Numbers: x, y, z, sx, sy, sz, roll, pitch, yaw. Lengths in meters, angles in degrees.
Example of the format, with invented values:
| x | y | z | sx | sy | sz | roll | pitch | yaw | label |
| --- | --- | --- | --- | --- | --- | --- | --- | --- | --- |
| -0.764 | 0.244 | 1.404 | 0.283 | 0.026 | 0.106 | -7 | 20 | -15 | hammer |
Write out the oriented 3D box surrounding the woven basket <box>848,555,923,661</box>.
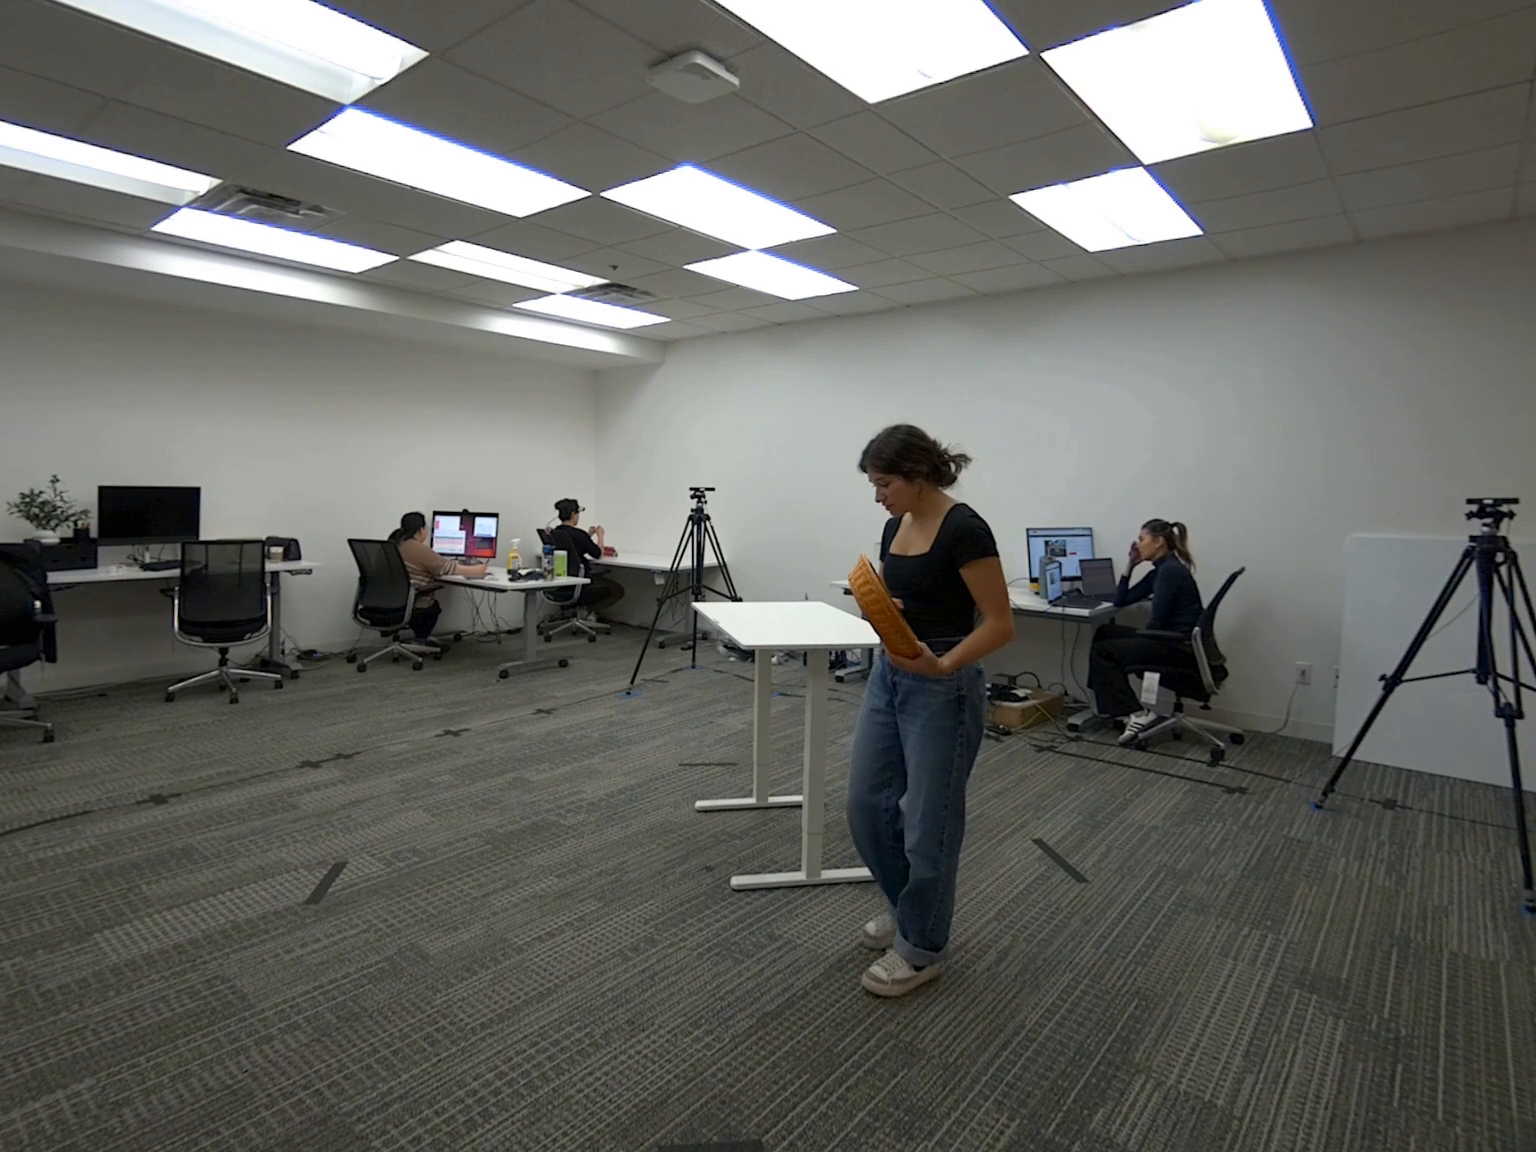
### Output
| x | y | z | sx | sy | sz | roll | pitch | yaw | label |
| --- | --- | --- | --- | --- | --- | --- | --- | --- | --- |
| 0.290 | 0.098 | 2.172 | 0.073 | 0.337 | 0.262 | -31 | 37 | 7 | woven basket |
